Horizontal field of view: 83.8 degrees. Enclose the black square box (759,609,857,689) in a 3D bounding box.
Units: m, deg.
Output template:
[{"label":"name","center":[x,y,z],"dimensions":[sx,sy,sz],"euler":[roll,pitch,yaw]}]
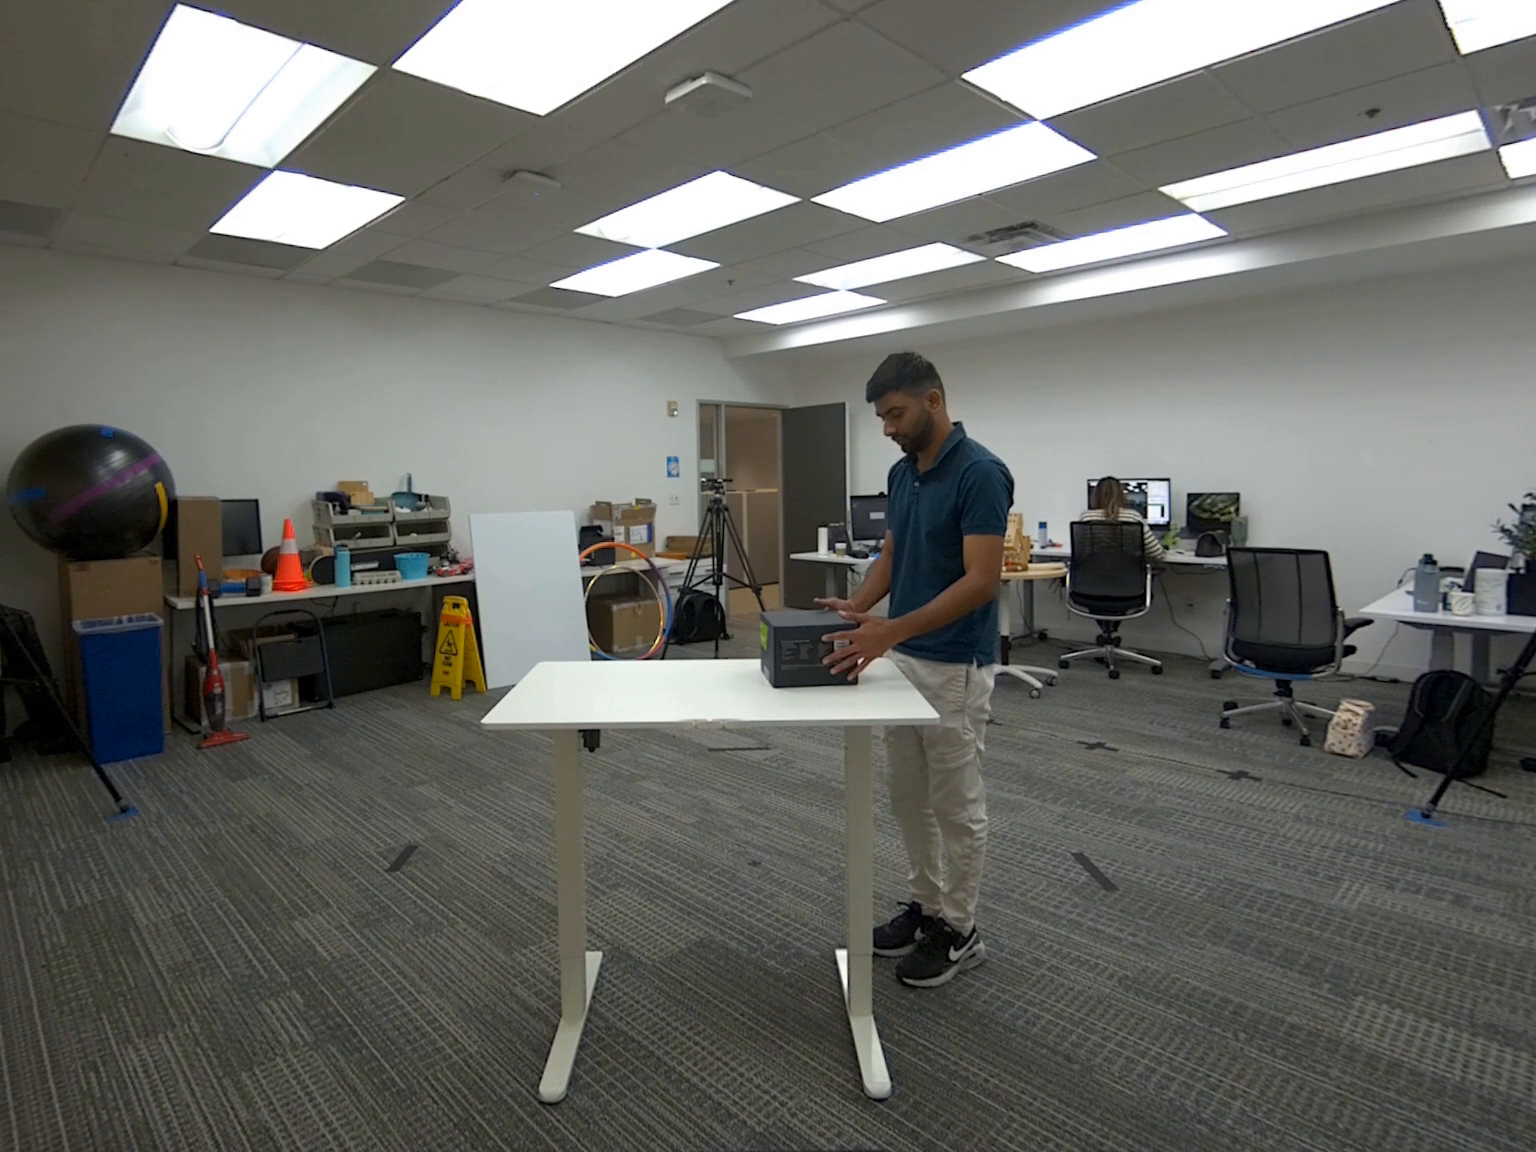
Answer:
[{"label":"black square box","center":[0.094,0.182,2.215],"dimensions":[0.217,0.155,0.230],"euler":[-1,8,-2]}]
